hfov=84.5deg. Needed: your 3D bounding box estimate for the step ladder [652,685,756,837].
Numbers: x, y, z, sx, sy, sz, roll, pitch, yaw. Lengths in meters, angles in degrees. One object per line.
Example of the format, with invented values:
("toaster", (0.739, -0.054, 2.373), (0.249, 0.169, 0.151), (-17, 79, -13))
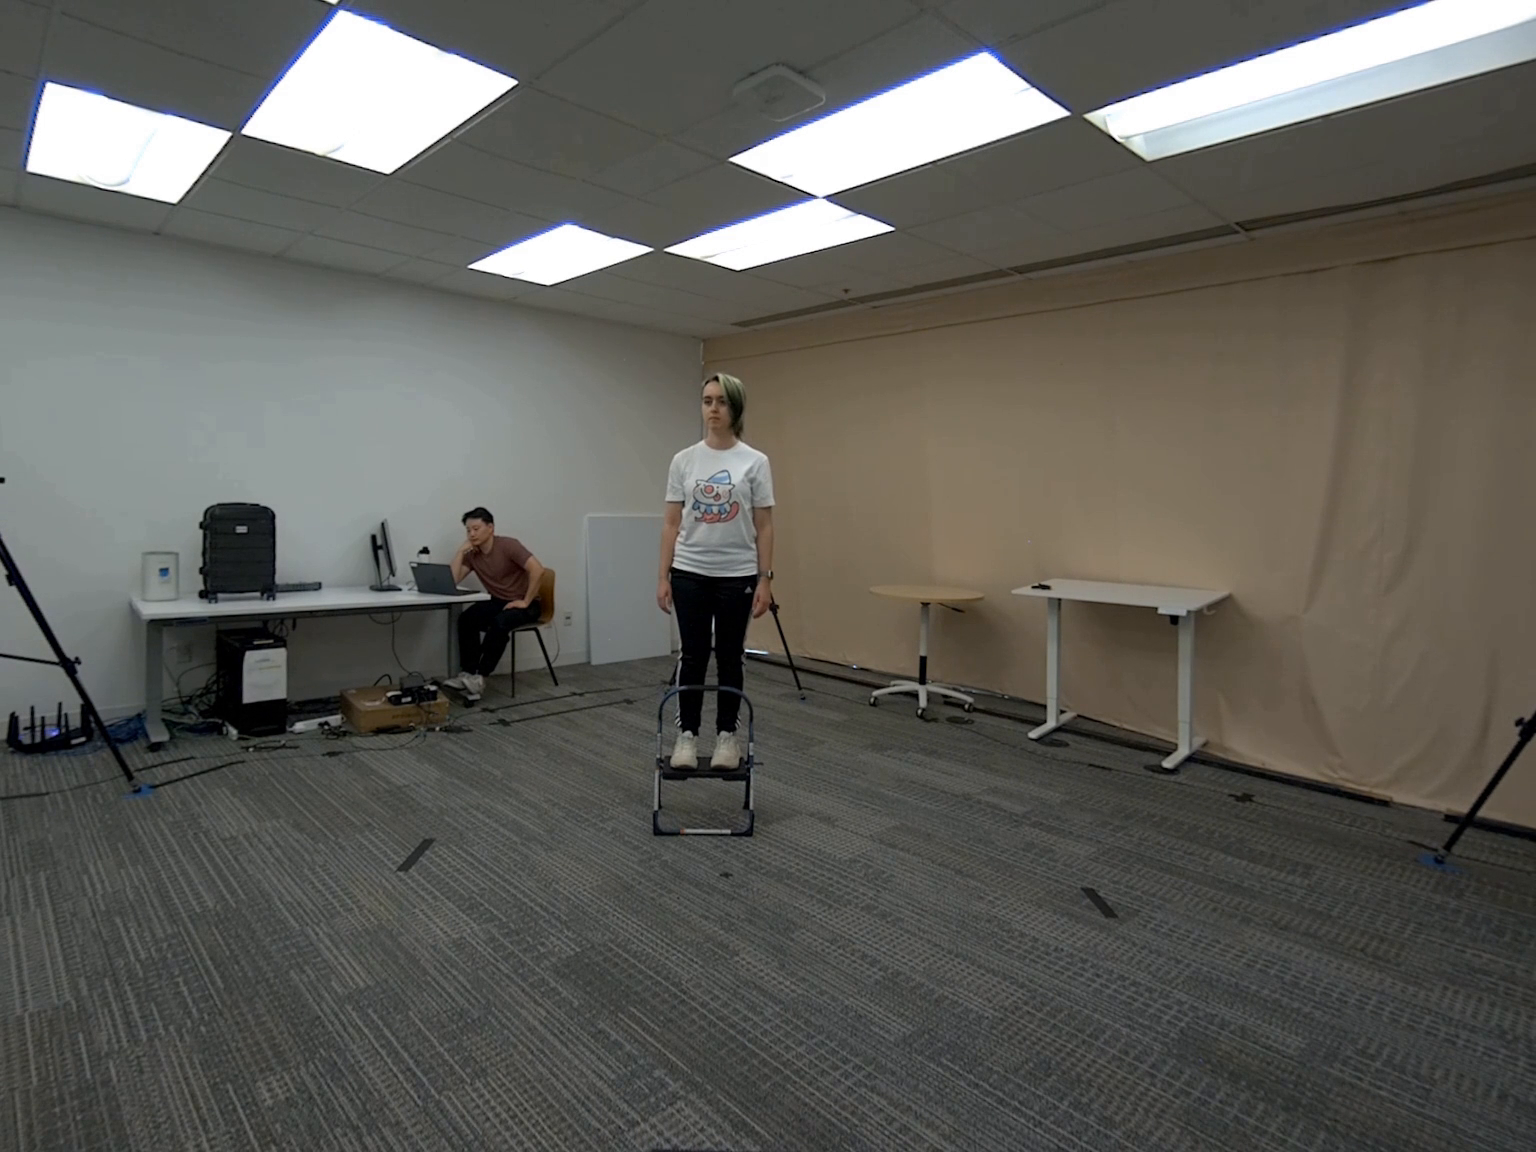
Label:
("step ladder", (-0.281, 0.758, 3.614), (0.429, 0.605, 0.351), (1, 2, -4))
